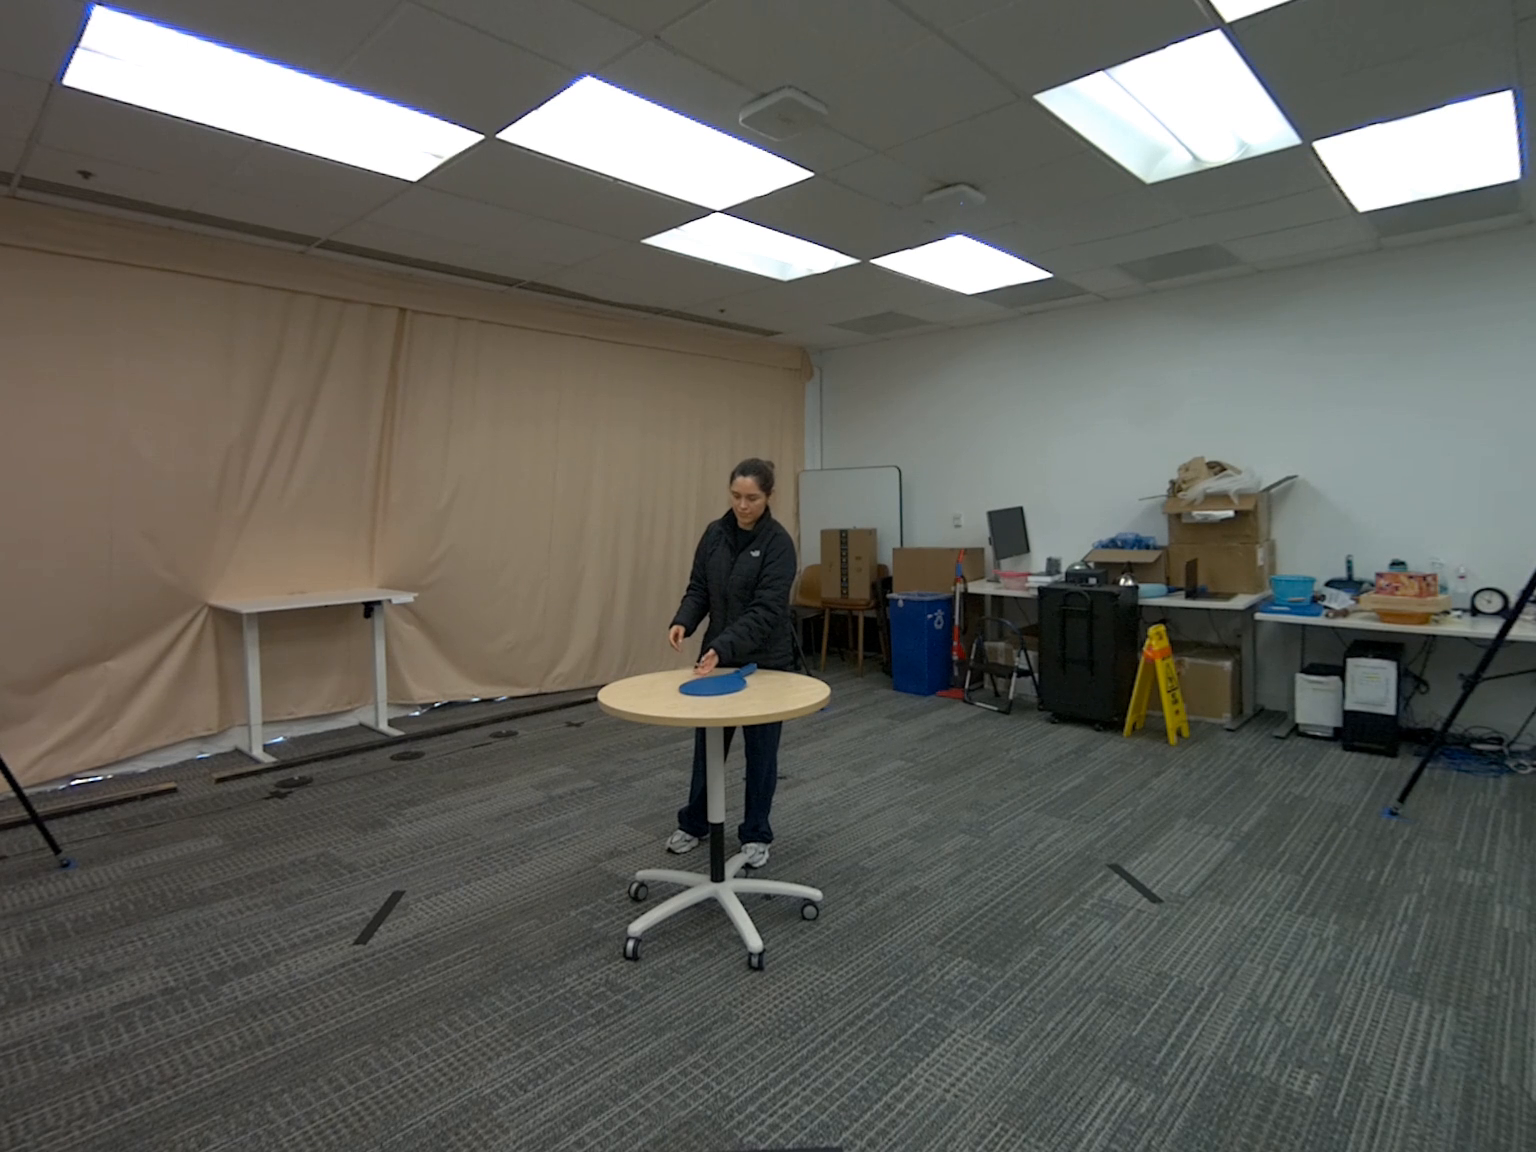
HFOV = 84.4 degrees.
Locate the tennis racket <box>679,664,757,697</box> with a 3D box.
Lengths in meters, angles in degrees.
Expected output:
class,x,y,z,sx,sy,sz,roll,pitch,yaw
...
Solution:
class,x,y,z,sx,sy,sz,roll,pitch,yaw
tennis racket,-0.141,0.355,2.886,0.220,0.031,0.422,2,7,29
